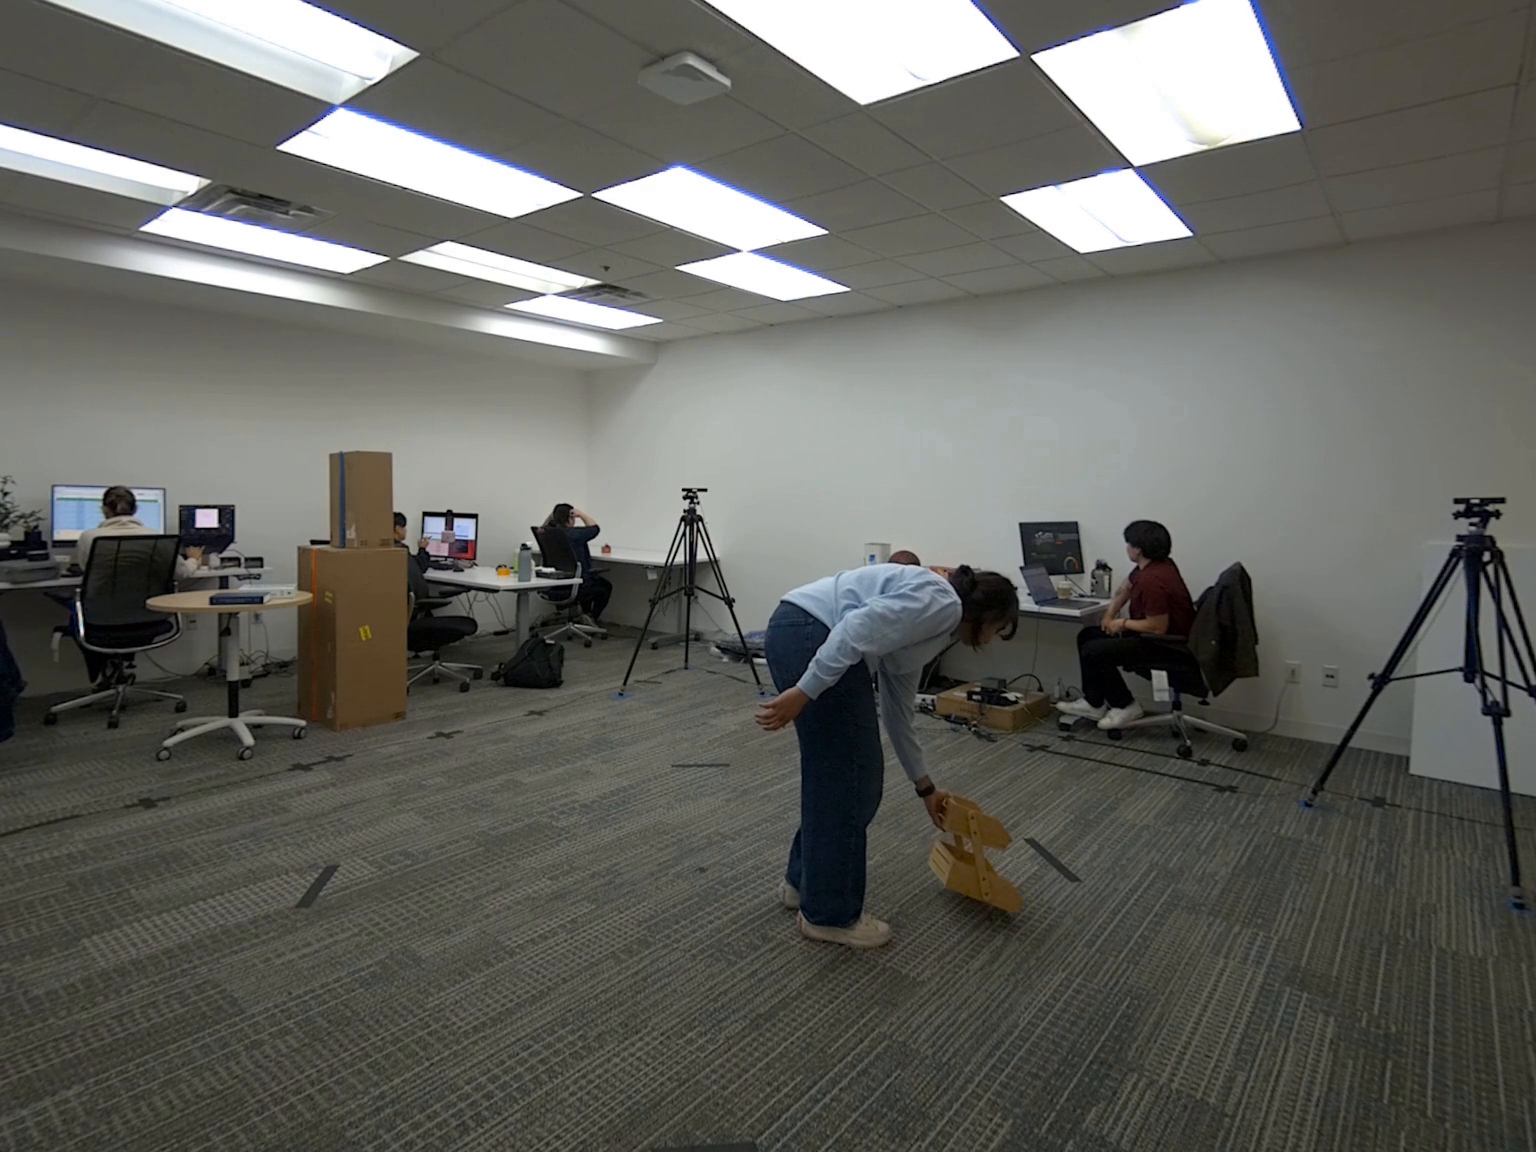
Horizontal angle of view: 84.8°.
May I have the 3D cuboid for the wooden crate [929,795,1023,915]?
[{"bbox_3d":[0.717,0.917,2.905,0.304,0.274,0.322,13,-4,3],"label":"wooden crate"}]
